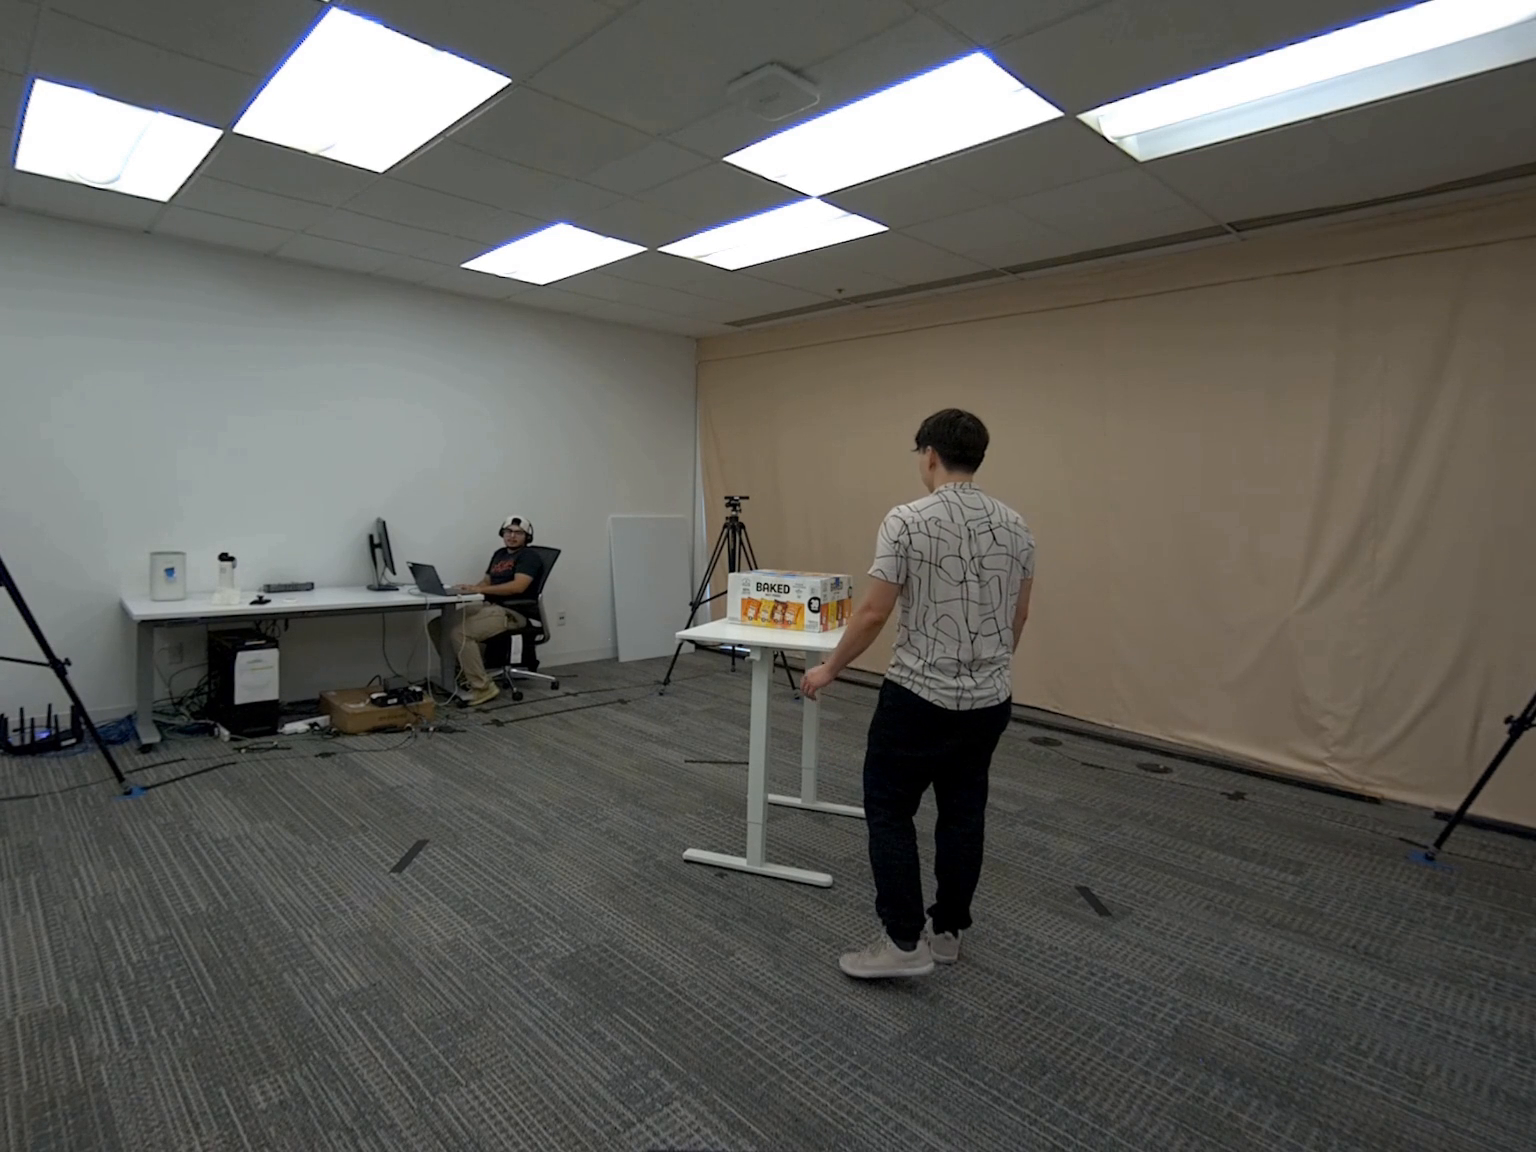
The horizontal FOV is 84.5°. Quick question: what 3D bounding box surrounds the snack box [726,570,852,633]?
[{"bbox_3d":[0.088,0.094,3.451,0.413,0.205,0.334,4,4,27],"label":"snack box"}]
